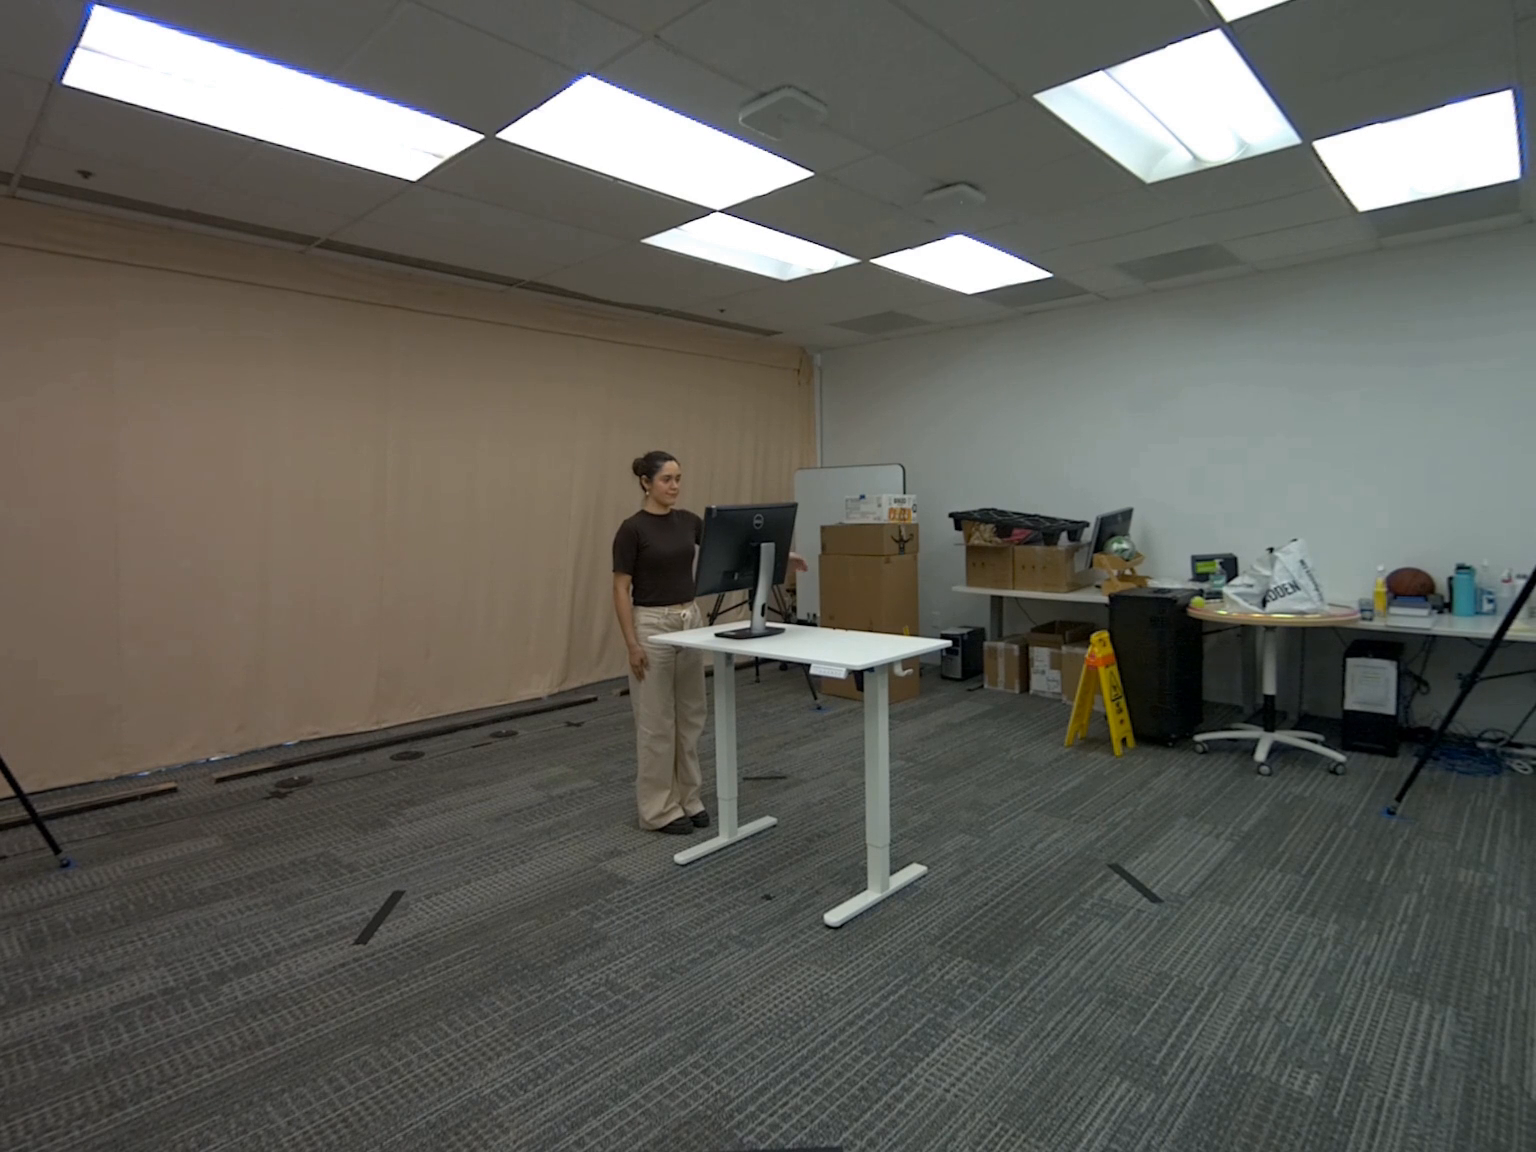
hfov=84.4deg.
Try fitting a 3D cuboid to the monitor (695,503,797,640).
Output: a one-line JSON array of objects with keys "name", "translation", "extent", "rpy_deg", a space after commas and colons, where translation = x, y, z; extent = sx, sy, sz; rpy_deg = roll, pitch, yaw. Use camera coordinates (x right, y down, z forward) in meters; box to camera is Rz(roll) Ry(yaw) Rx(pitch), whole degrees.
[{"name": "monitor", "translation": [-0.056, -0.020, 3.307], "extent": [0.193, 0.521, 0.523], "rpy_deg": [5, 8, 40]}]
